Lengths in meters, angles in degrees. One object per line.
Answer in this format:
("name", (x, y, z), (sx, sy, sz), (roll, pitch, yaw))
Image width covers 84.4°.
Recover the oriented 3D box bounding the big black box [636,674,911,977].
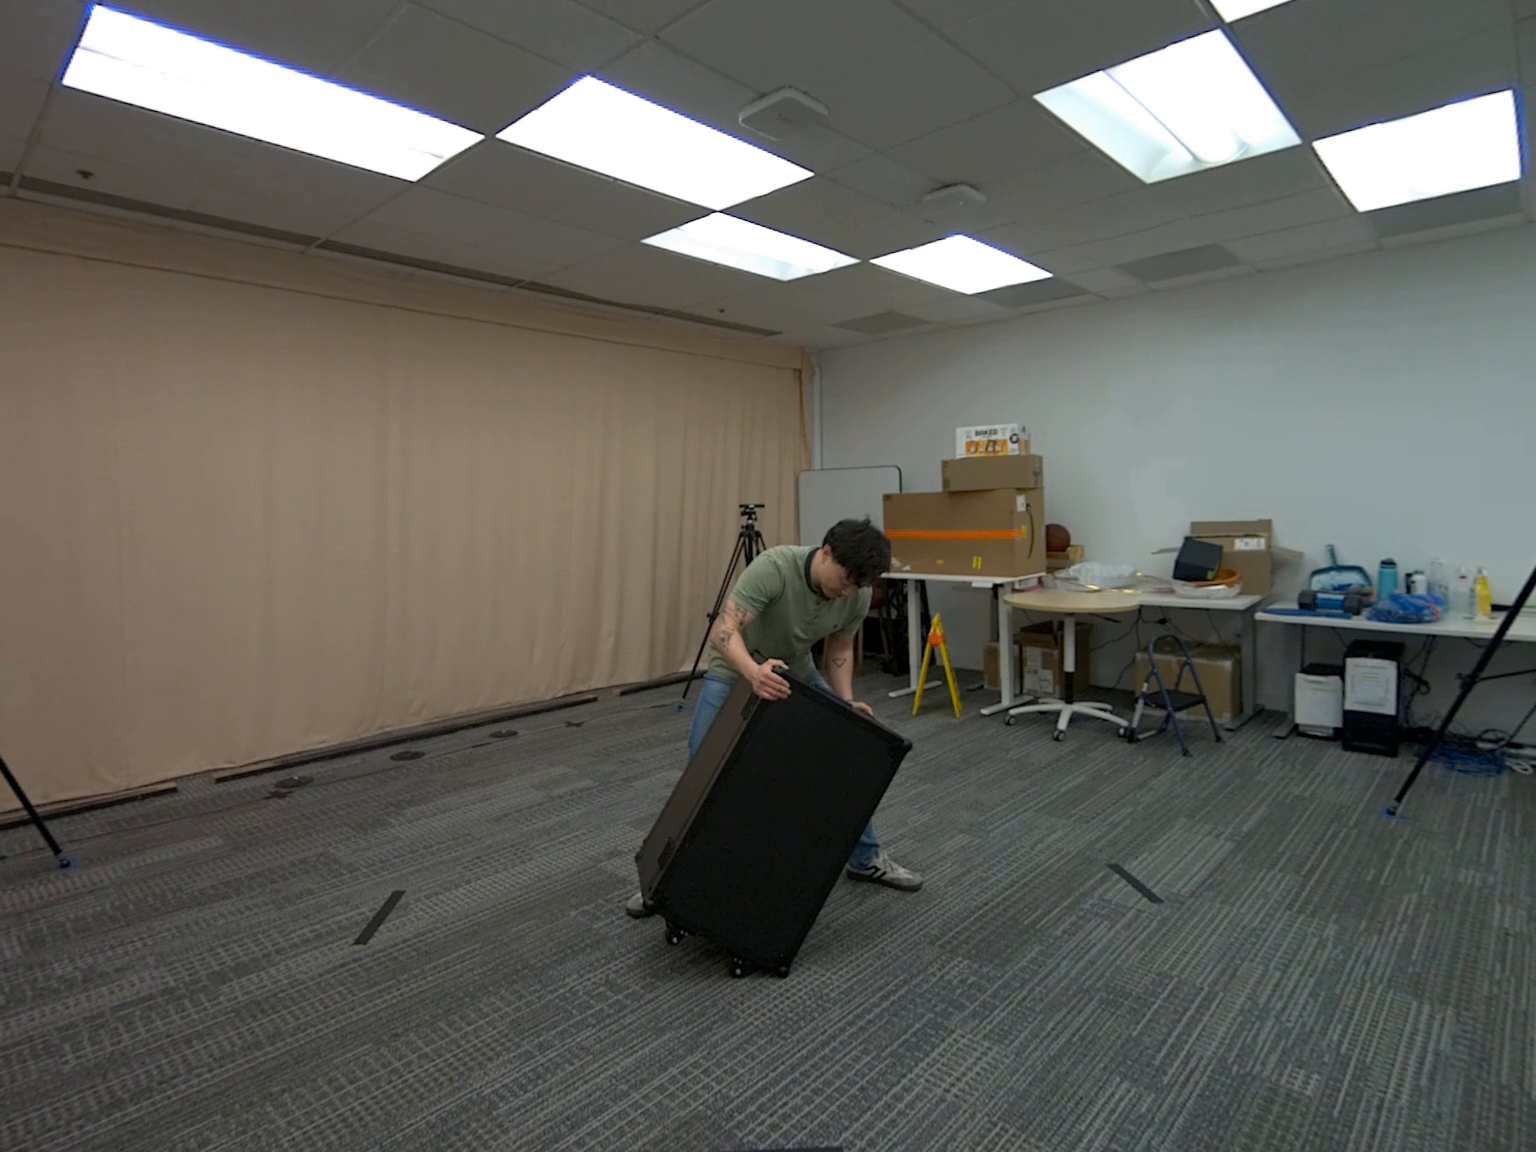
("big black box", (-0.023, 0.742, 2.631), (0.515, 0.861, 0.401), (31, -4, -11))
